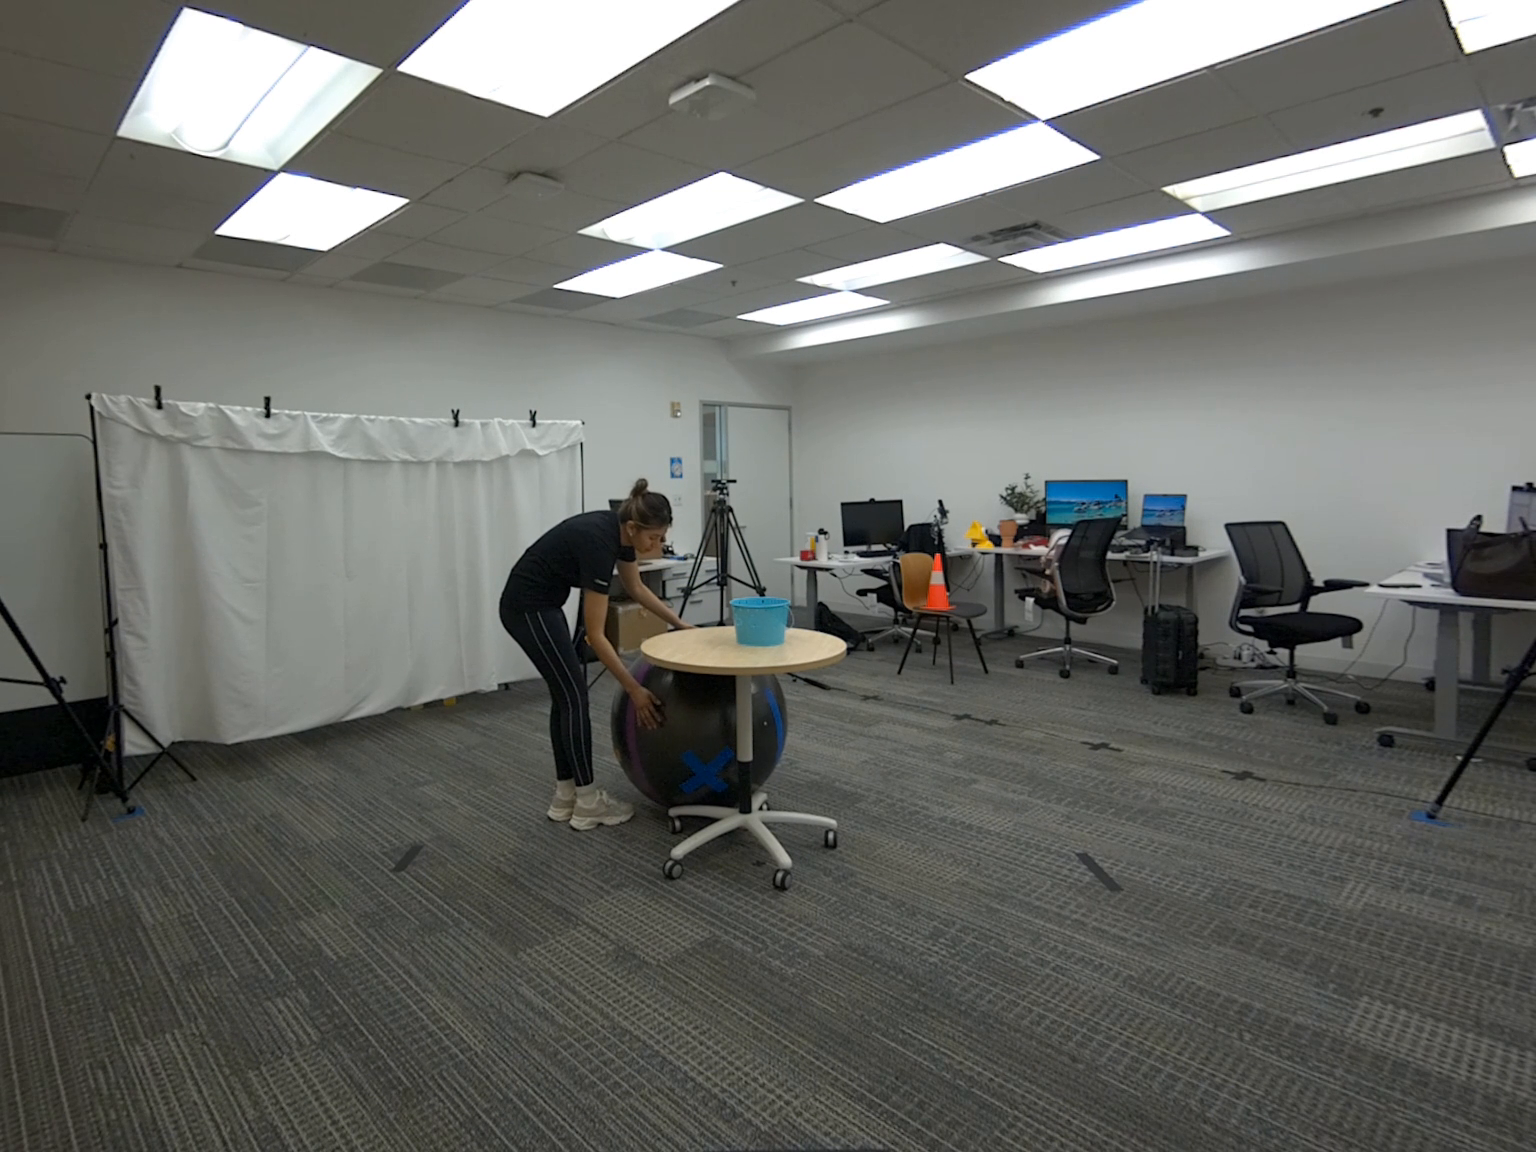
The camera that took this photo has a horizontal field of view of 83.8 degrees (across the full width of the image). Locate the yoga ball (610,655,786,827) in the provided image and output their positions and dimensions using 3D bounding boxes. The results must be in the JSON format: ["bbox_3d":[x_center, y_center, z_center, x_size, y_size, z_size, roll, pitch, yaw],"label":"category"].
[{"bbox_3d":[-0.295,0.624,3.668,0.757,0.755,0.762,-1,5,-2],"label":"yoga ball"}]
